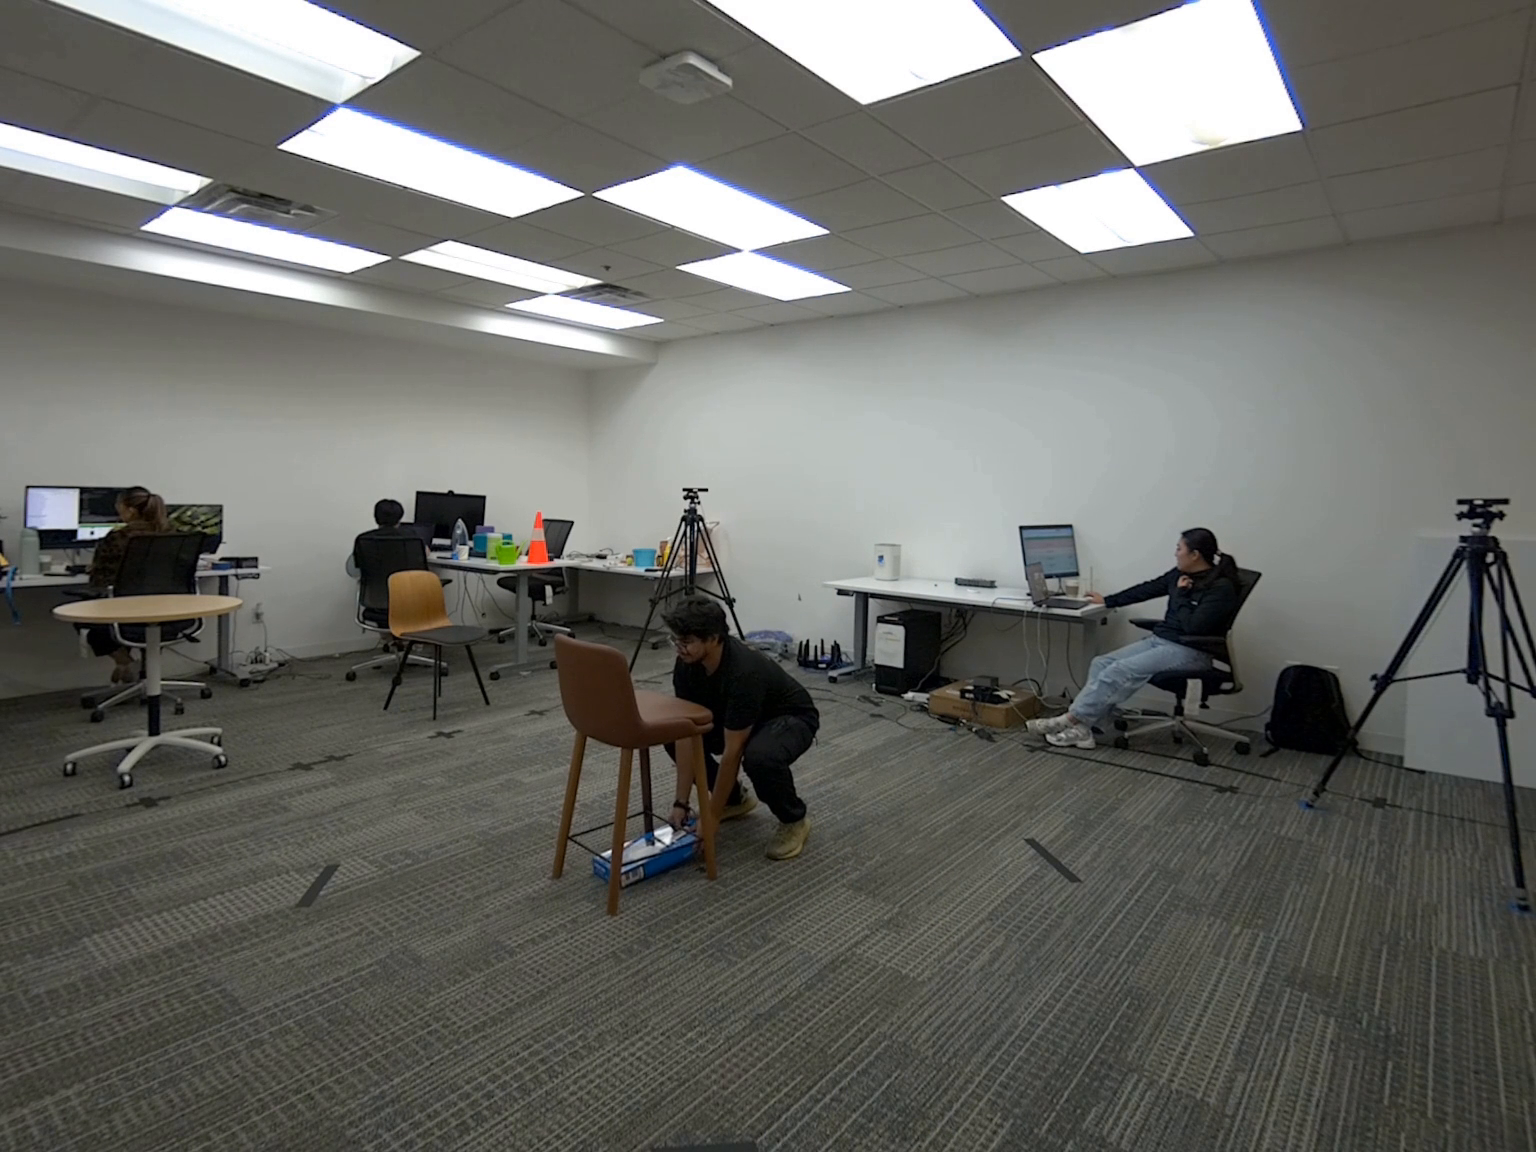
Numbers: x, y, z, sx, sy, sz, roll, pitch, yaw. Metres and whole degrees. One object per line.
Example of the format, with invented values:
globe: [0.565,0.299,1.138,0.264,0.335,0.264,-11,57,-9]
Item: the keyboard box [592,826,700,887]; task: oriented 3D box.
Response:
keyboard box: [-0.423,1.021,3.126,0.425,0.059,0.182,-10,10,-39]
